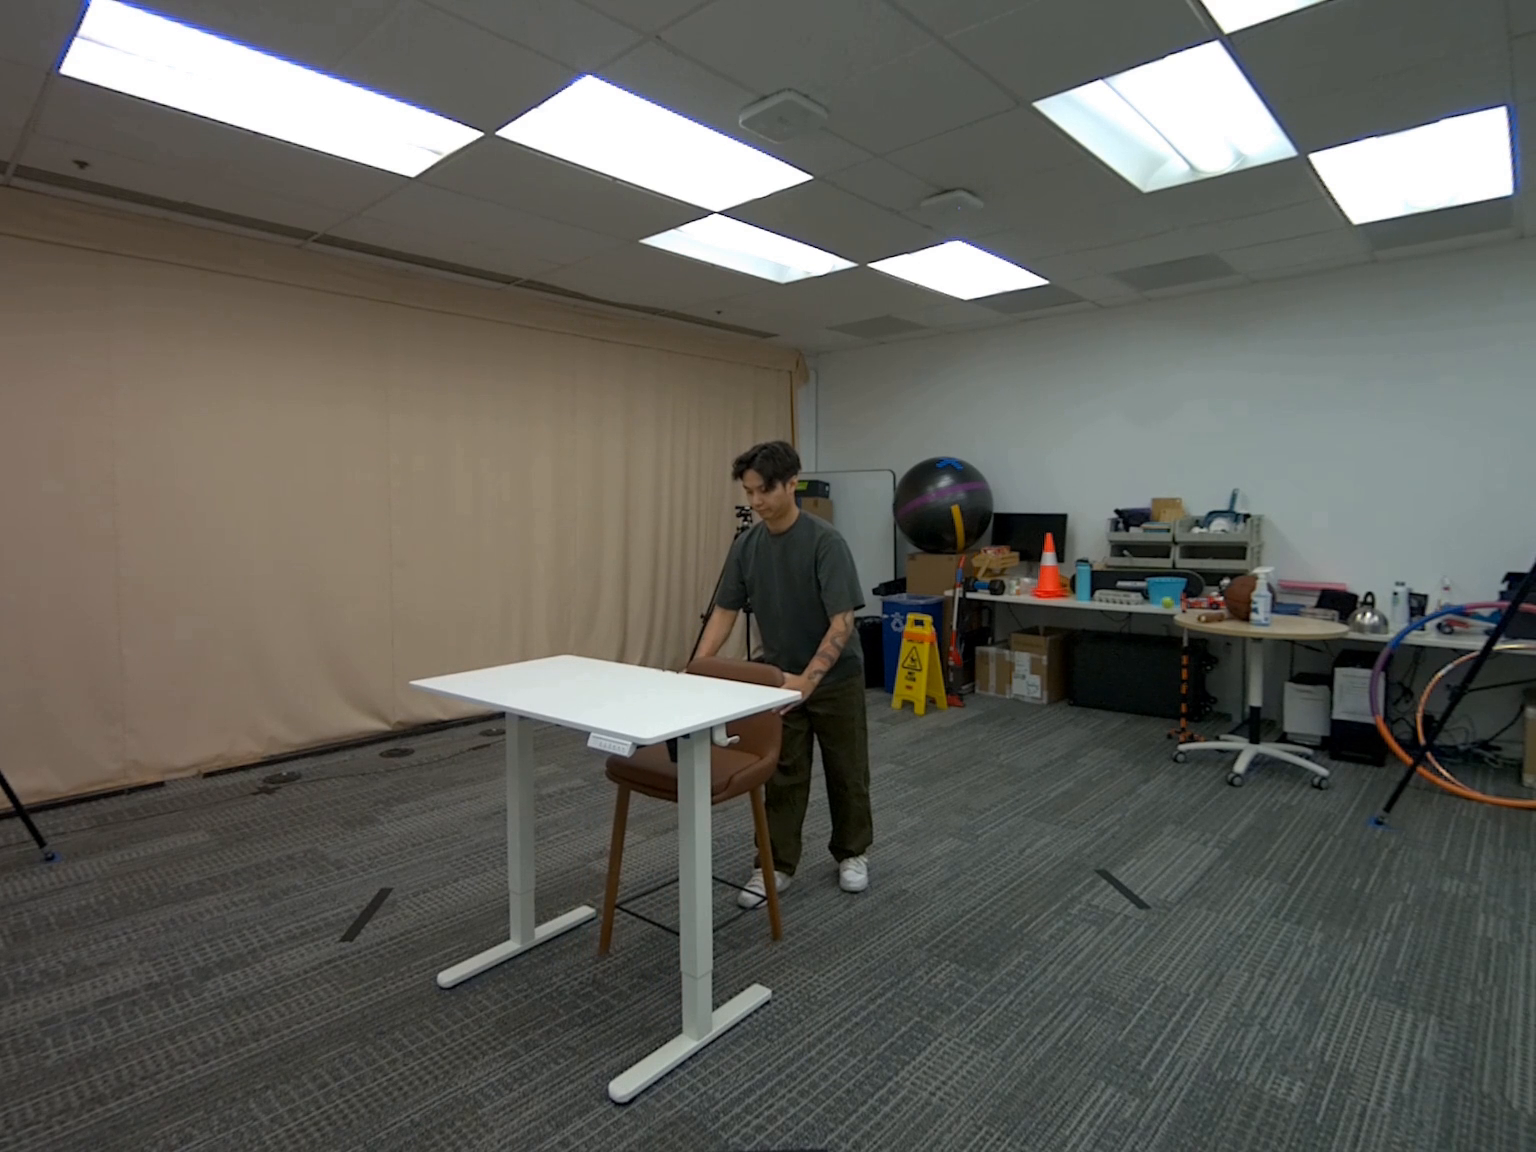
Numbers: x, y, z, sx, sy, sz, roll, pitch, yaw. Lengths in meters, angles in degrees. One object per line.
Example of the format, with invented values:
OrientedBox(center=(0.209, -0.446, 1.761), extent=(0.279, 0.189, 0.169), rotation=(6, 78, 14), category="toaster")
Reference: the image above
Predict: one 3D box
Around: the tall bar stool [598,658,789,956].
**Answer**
OrientedBox(center=(-0.226, 0.729, 2.655), extent=(0.471, 0.890, 0.452), rotation=(2, 0, 40), category="tall bar stool")
